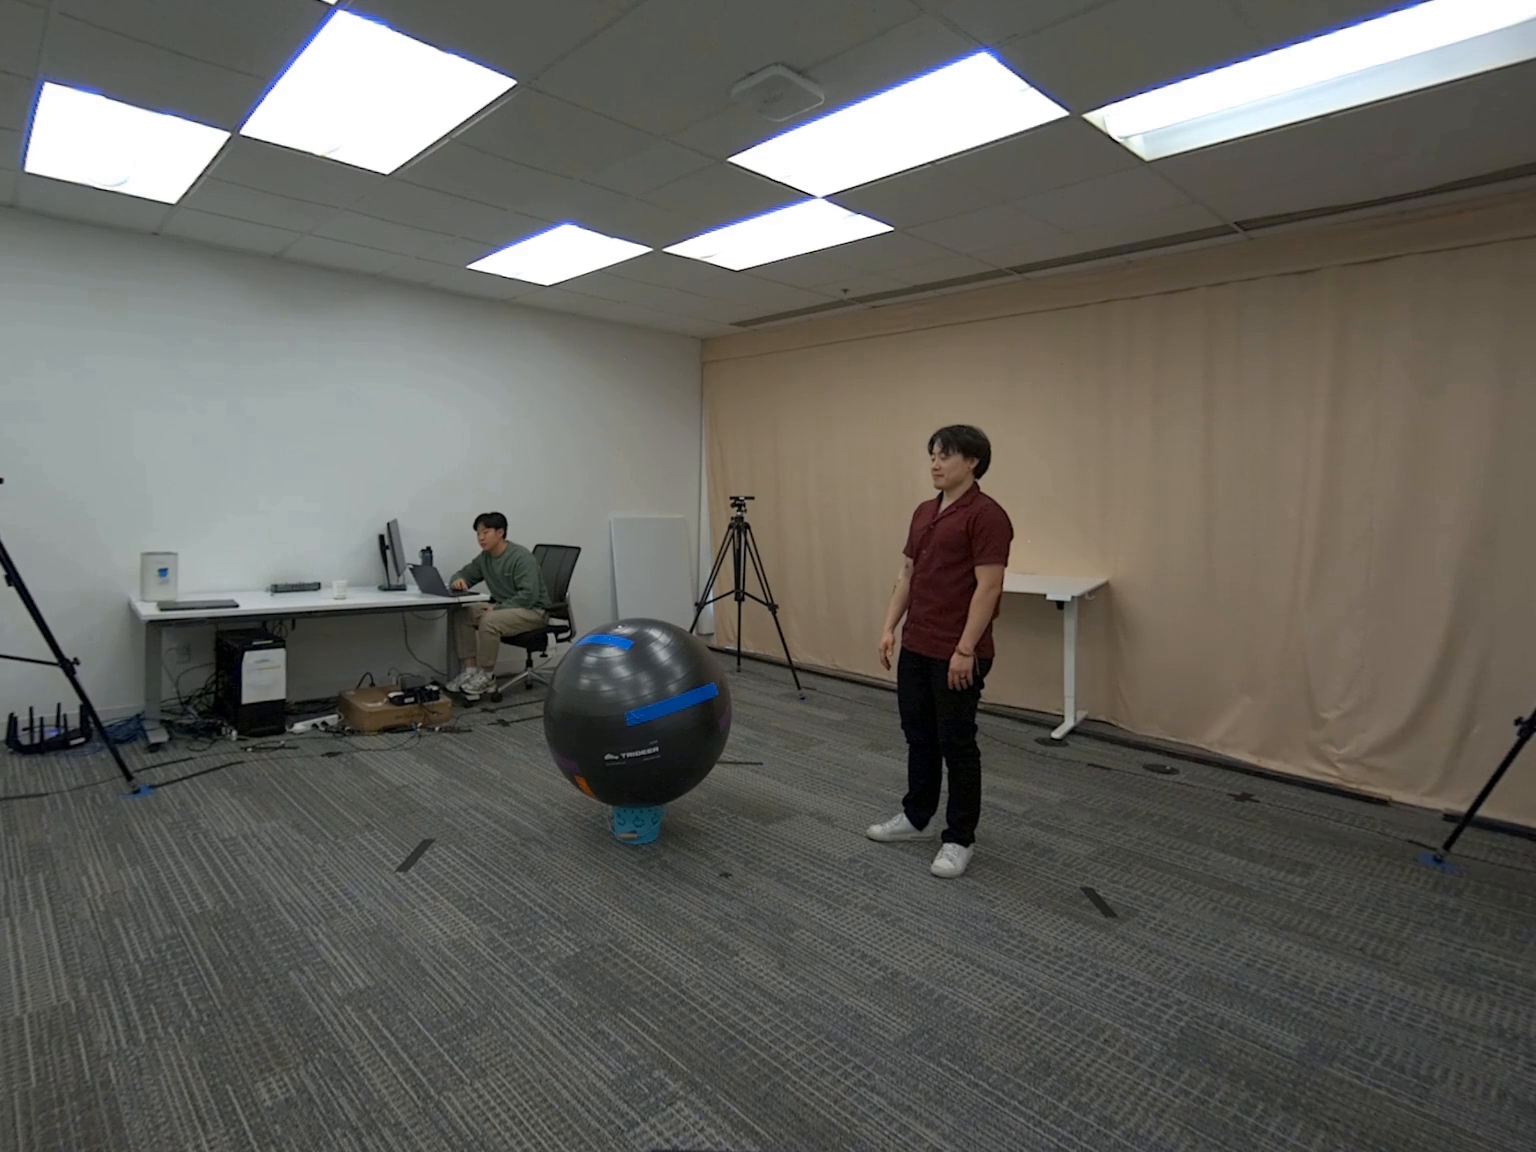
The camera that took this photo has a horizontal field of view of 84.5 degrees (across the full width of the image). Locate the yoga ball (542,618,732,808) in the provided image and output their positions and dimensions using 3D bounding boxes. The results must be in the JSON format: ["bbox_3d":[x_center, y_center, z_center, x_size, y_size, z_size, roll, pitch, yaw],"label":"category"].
[{"bbox_3d":[-0.537,0.557,3.425,0.757,0.756,0.761,1,4,-1],"label":"yoga ball"}]
